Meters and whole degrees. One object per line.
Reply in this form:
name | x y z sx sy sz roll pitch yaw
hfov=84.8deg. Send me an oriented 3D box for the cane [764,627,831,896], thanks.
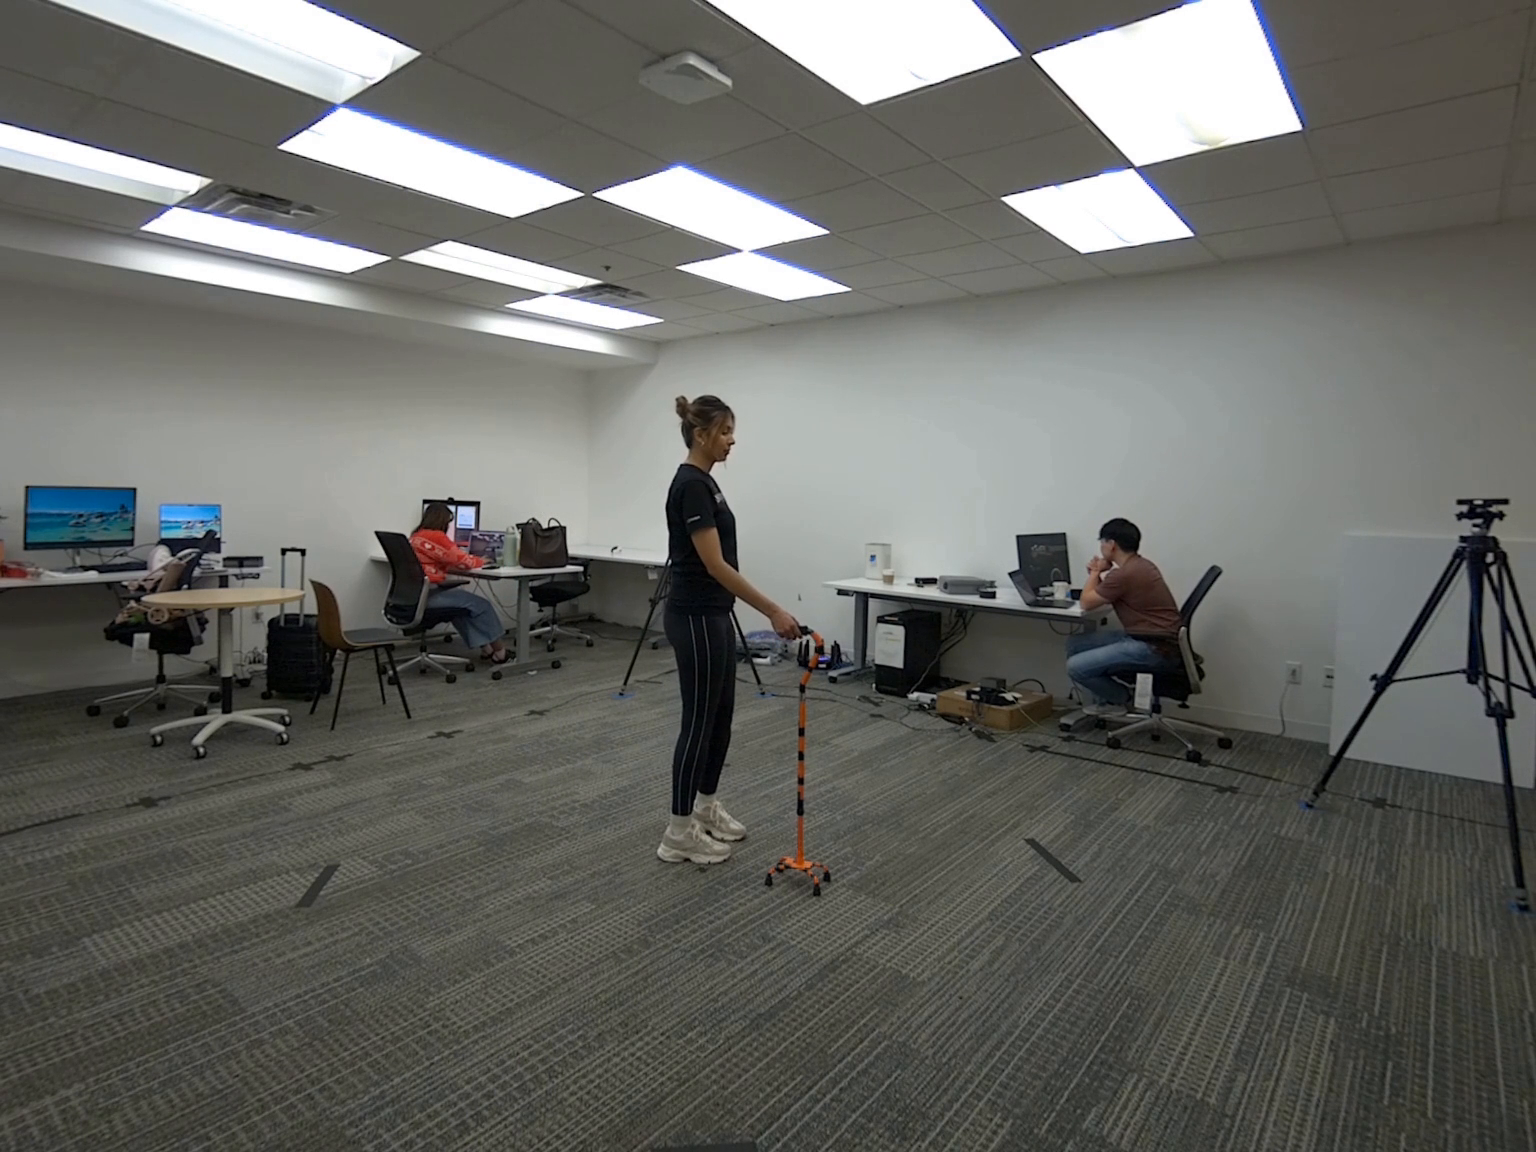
cane | 0.105 0.634 3.002 0.211 0.906 0.149 2 3 19
